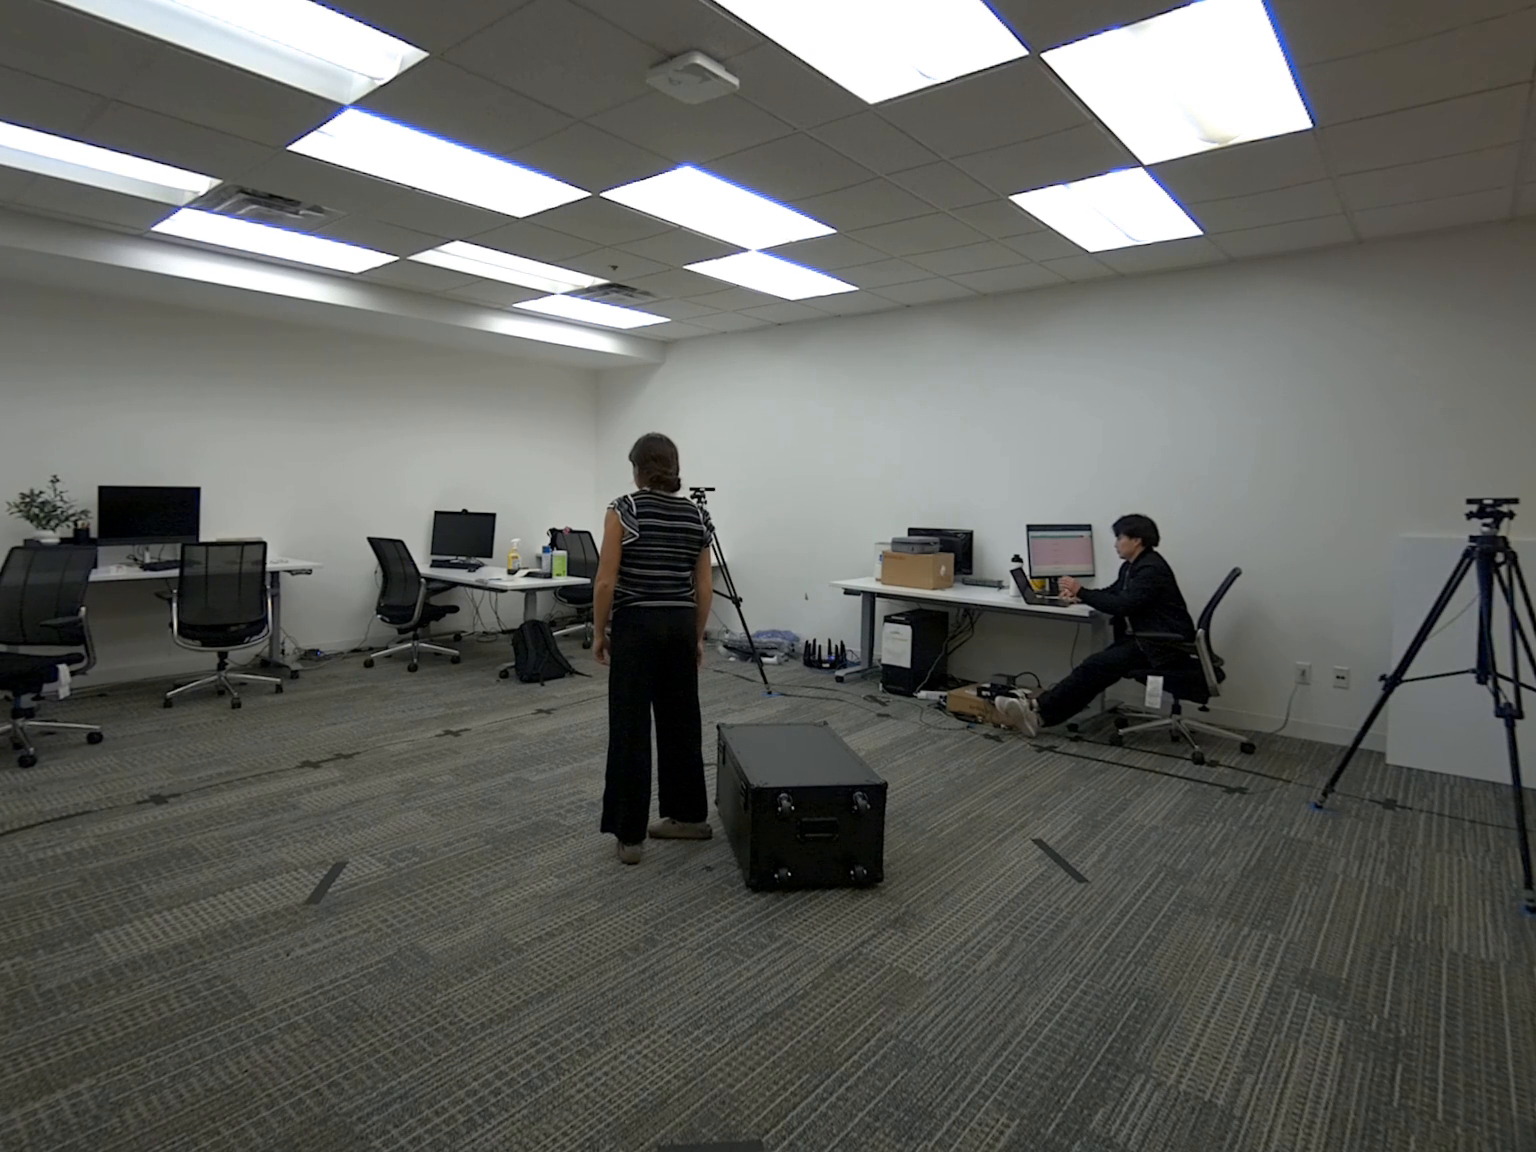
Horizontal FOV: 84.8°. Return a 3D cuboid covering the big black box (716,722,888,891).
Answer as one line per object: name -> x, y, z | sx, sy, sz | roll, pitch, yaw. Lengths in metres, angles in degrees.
big black box -> 0.089, 0.862, 3.285 | 0.515, 0.395, 0.875 | 0, 5, -12
